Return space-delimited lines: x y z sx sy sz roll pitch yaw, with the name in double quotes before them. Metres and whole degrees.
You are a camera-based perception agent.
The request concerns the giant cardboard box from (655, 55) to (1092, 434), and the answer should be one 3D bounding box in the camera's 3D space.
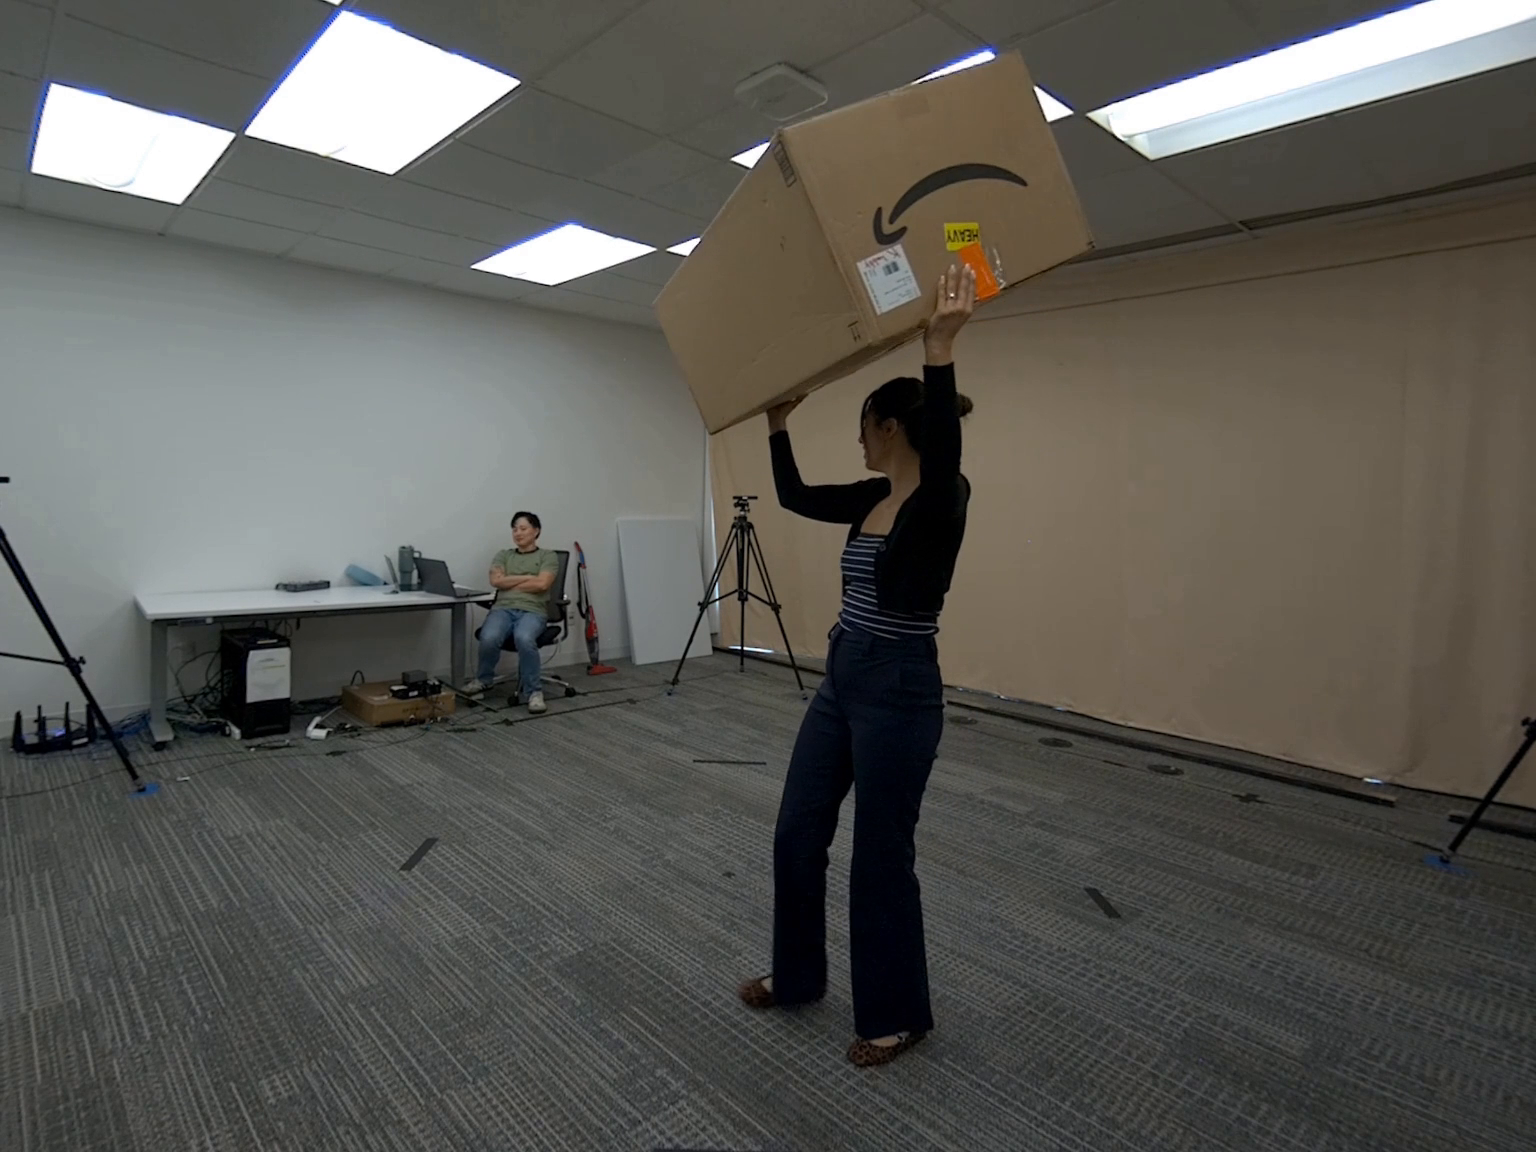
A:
"giant cardboard box" 0.157 -0.727 2.095 0.573 0.423 1.040 -26 8 -18
